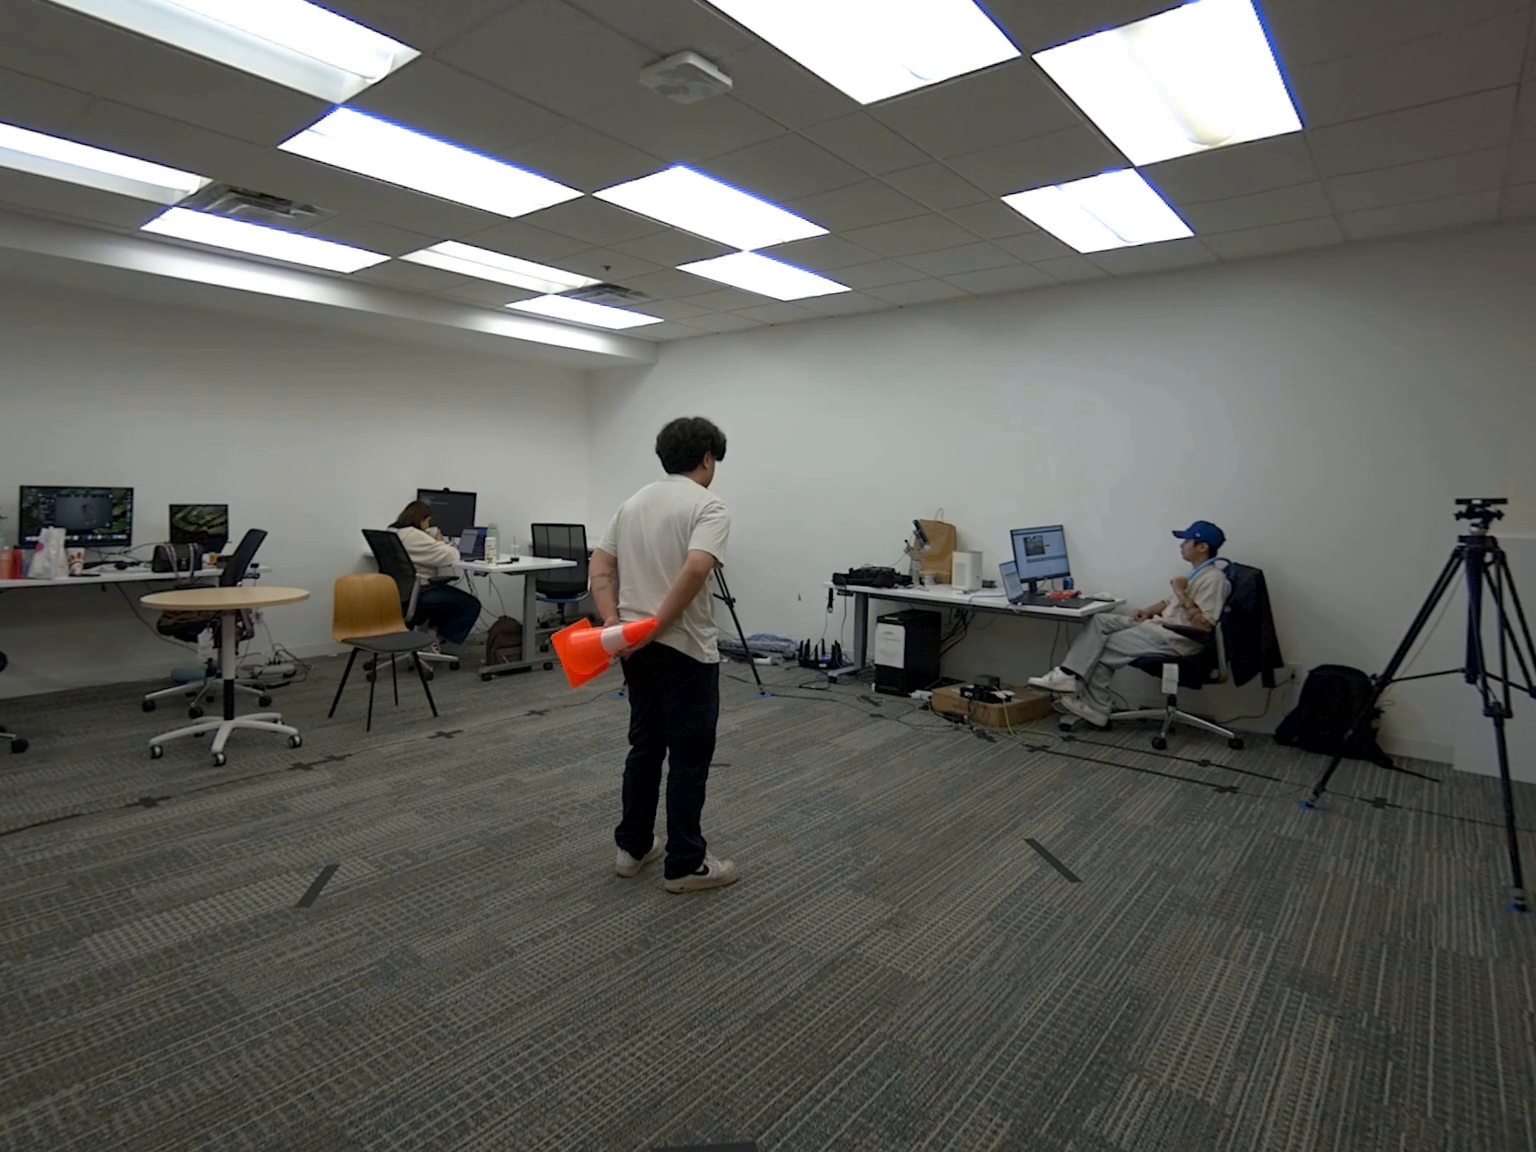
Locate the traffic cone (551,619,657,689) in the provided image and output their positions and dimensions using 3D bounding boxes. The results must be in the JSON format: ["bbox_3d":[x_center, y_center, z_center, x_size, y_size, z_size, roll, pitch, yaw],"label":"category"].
[{"bbox_3d":[-0.528,0.213,2.855,0.390,0.203,0.202,-22,4,36],"label":"traffic cone"}]
